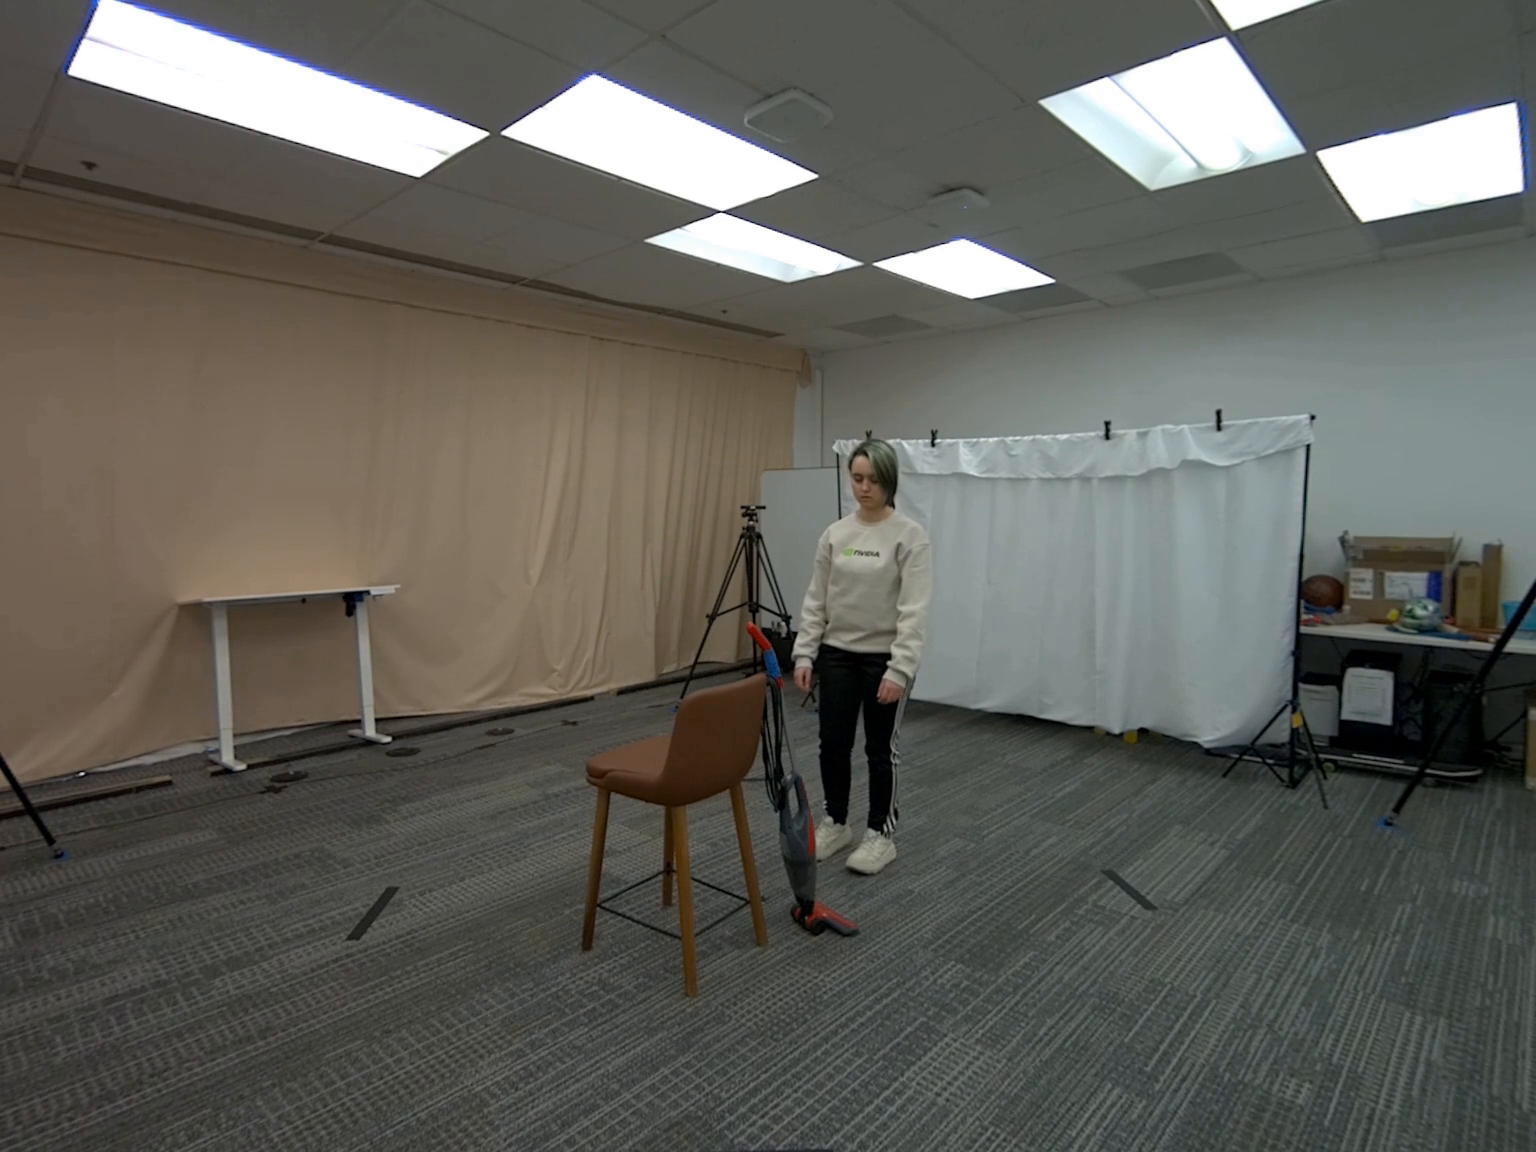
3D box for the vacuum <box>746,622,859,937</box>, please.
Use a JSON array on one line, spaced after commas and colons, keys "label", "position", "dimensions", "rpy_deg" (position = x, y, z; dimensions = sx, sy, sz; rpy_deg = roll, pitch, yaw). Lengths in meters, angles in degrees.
[{"label": "vacuum", "position": [0.069, 0.659, 2.720], "dimensions": [0.141, 1.041, 0.260], "rpy_deg": [-17, 11, -30]}]
